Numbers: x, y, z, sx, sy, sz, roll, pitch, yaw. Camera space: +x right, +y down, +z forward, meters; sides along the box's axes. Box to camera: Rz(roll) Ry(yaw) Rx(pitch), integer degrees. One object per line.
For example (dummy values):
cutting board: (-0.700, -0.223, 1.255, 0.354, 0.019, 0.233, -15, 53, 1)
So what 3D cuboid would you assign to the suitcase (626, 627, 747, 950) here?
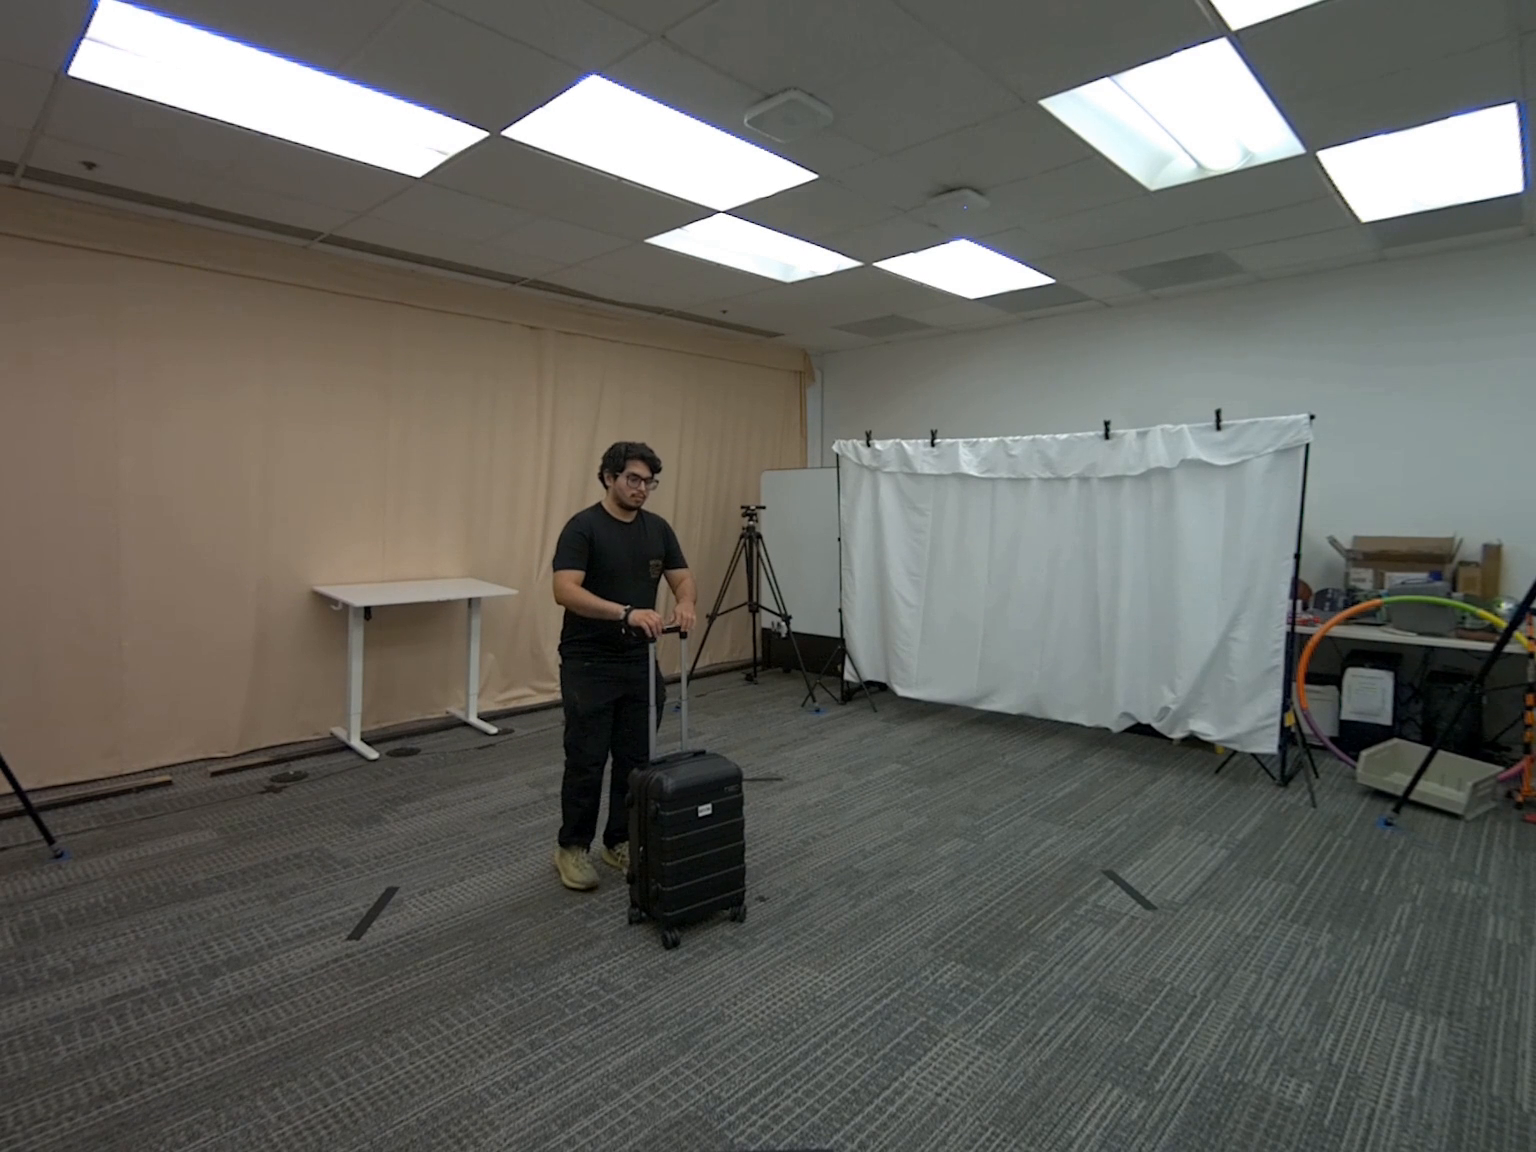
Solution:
suitcase: (-0.269, 0.683, 2.813, 0.373, 0.976, 0.265, -3, 4, -37)
